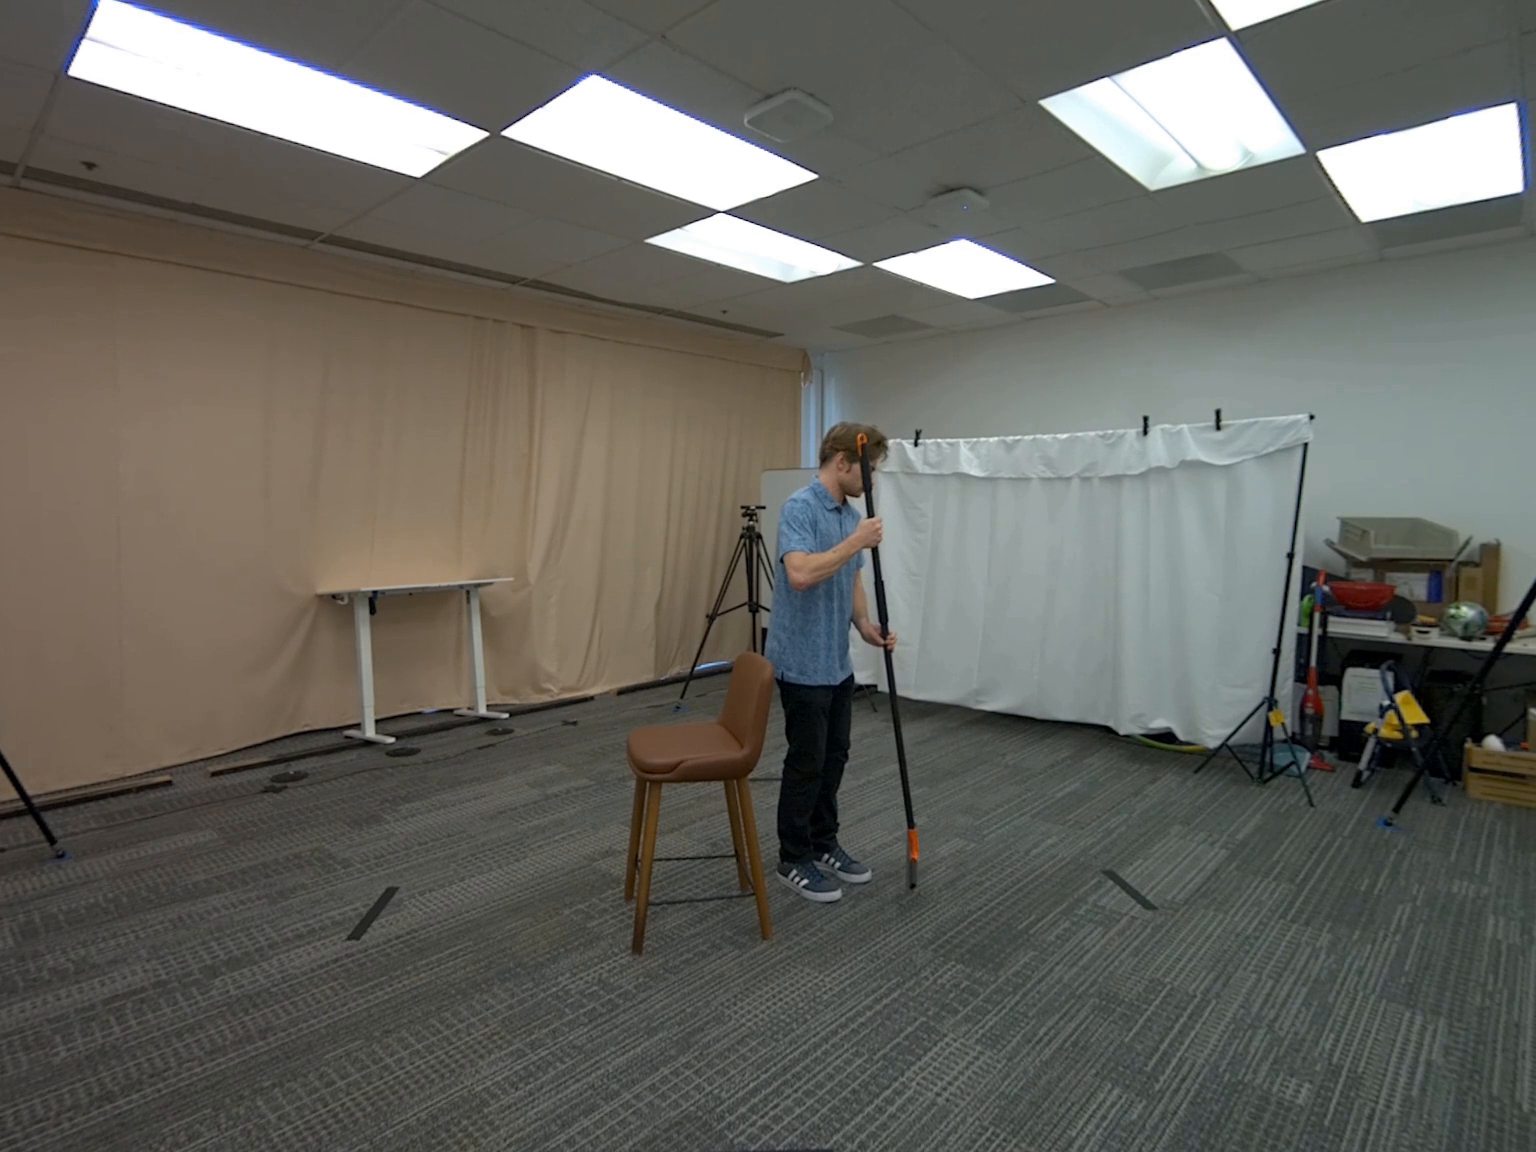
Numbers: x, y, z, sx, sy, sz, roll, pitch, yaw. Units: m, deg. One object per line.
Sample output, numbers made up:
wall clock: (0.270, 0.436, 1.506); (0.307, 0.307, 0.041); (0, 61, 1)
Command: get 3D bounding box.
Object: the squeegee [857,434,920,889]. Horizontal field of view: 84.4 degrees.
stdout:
squeegee: (0.449, 0.316, 2.936); (0.054, 1.528, 0.433); (-4, 8, 13)
